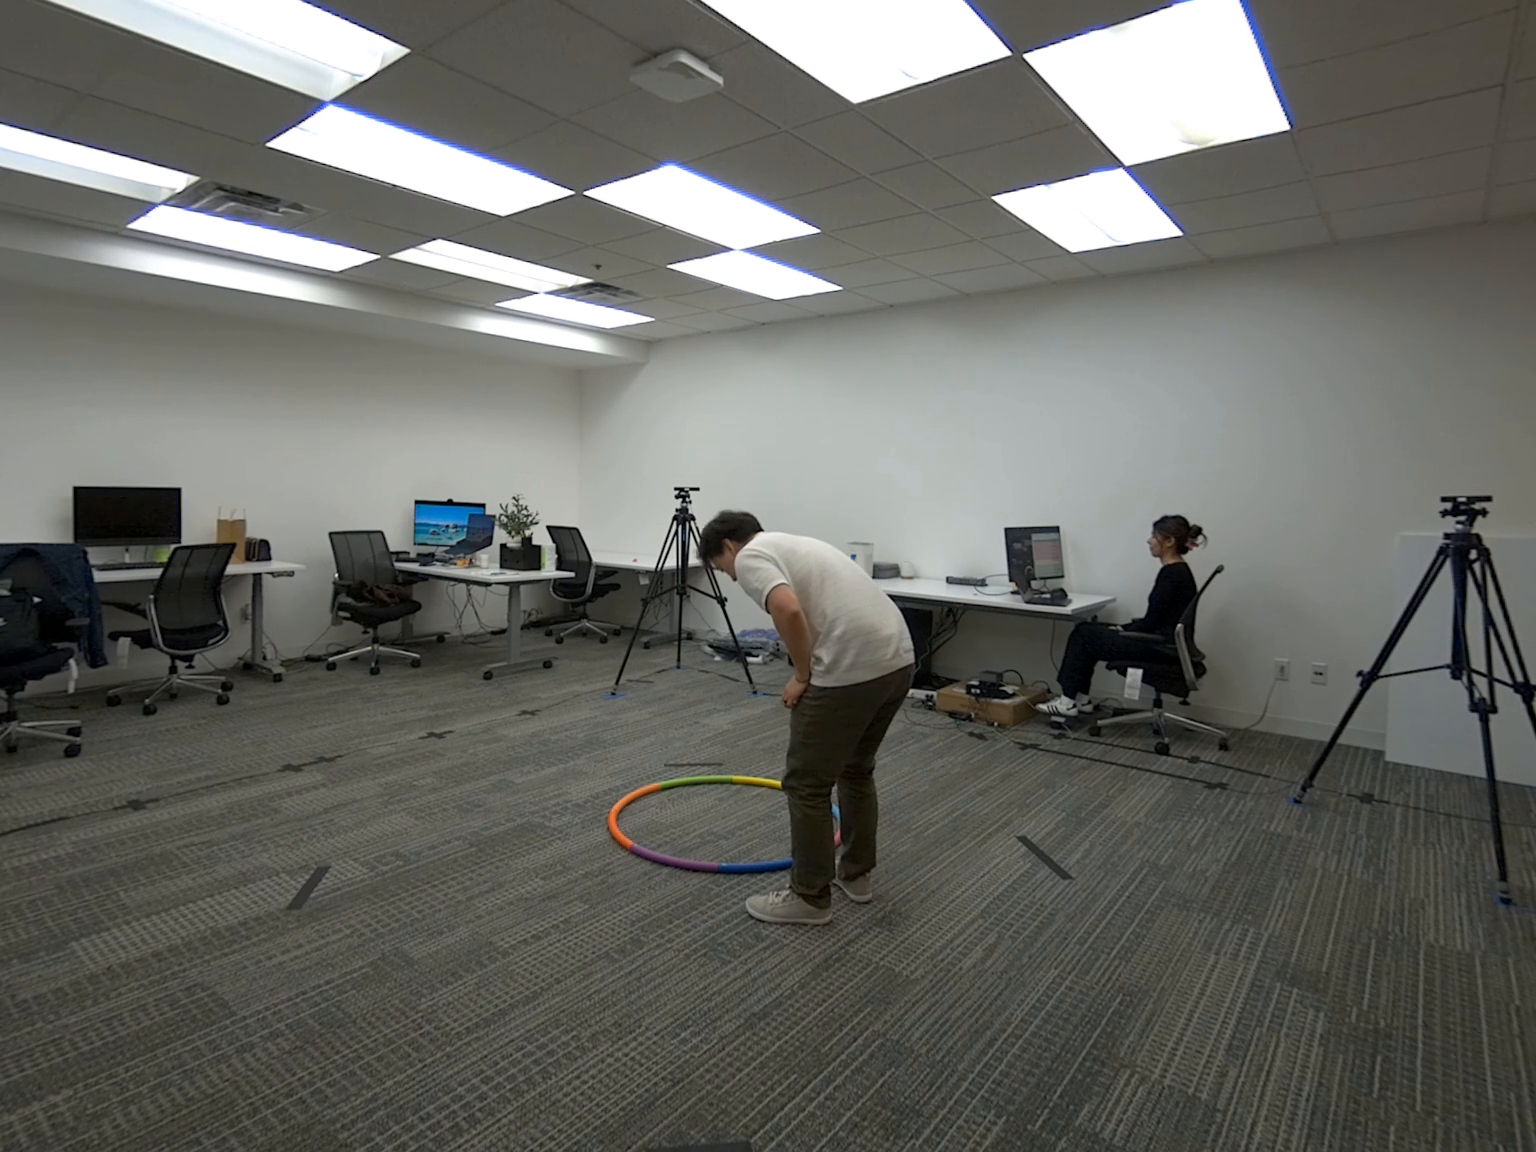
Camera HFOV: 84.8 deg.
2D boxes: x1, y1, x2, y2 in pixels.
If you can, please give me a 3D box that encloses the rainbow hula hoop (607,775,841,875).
[{"bbox_3d":[-0.185,0.993,3.544,0.978,0.035,0.984,1,6,-2],"label":"rainbow hula hoop"}]
